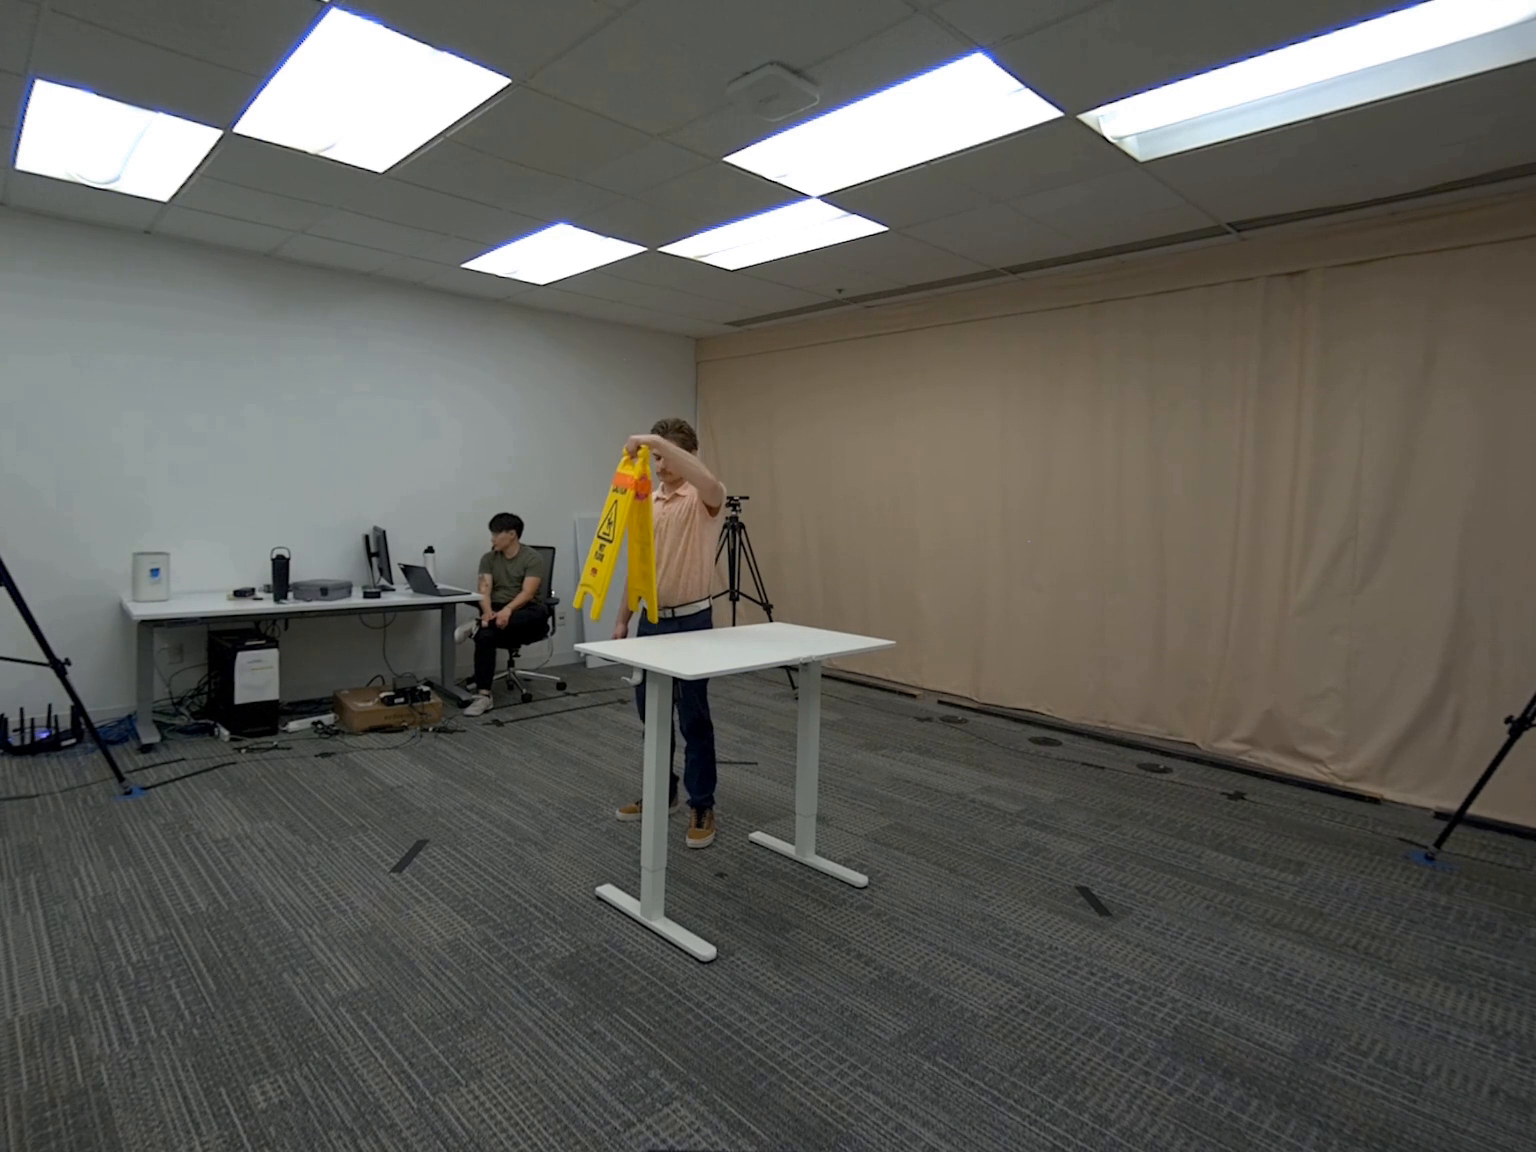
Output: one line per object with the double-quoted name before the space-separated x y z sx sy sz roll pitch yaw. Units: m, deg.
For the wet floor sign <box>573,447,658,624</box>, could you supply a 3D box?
"wet floor sign" -0.540 -0.161 3.167 0.283 0.643 0.290 5 8 -30
